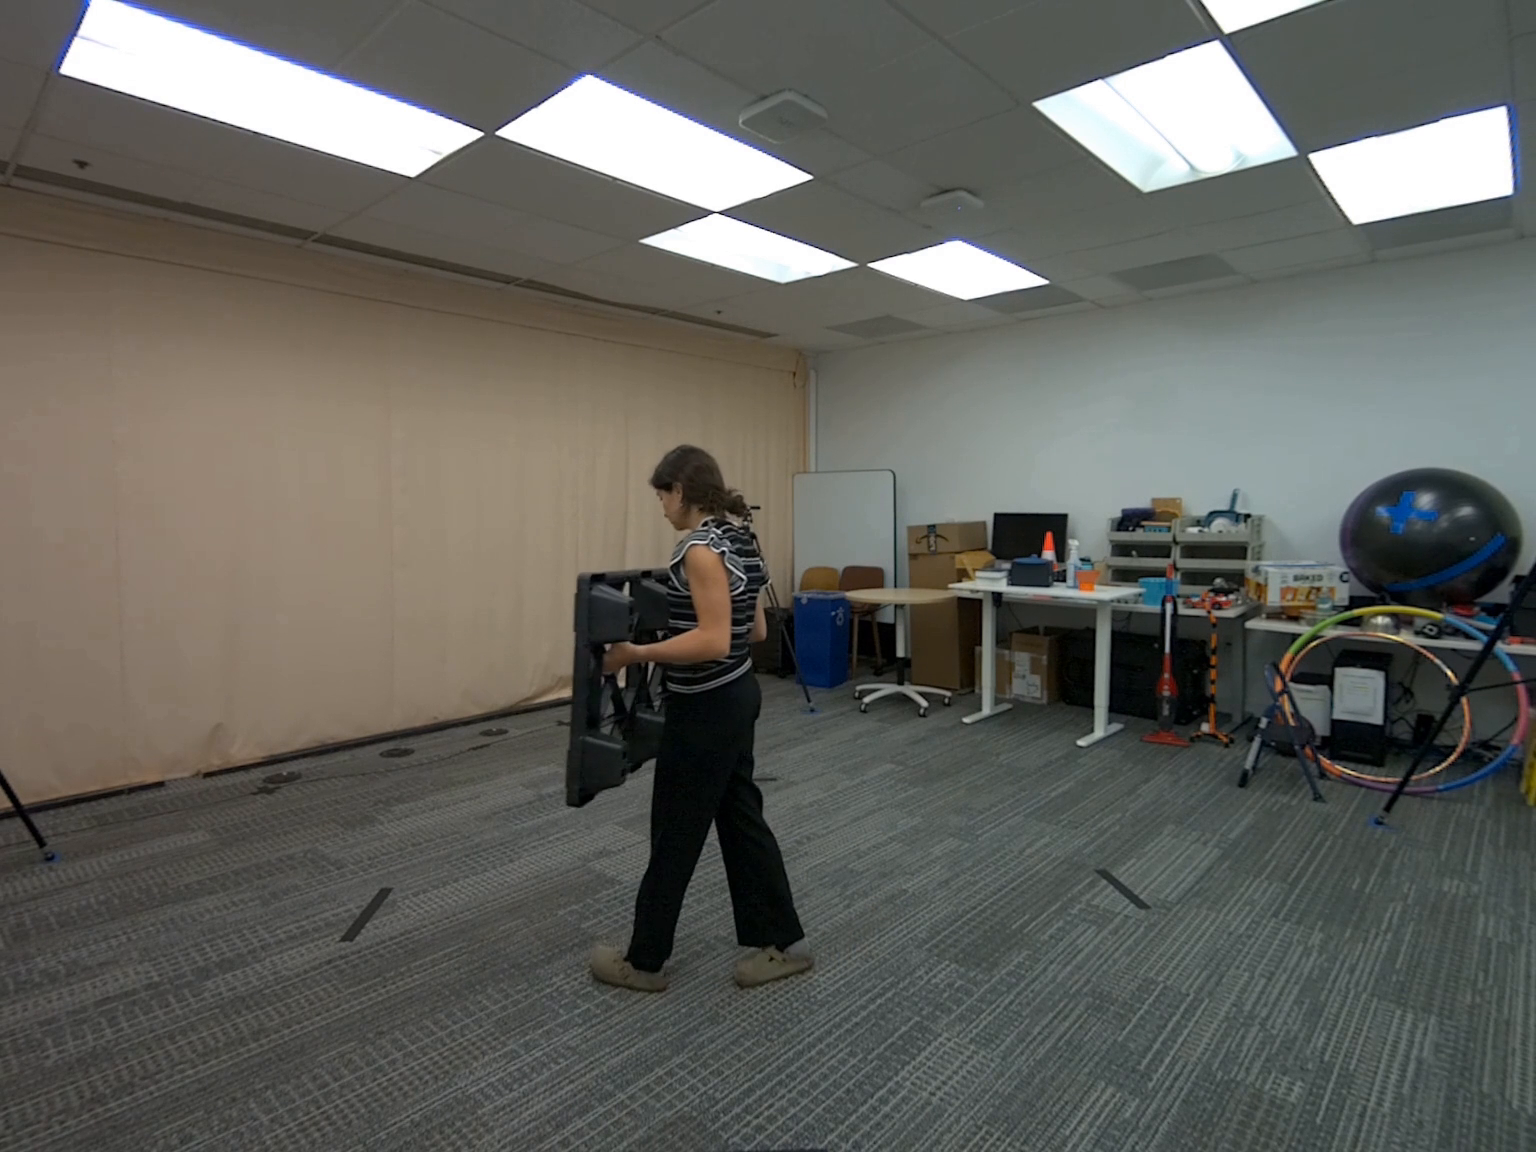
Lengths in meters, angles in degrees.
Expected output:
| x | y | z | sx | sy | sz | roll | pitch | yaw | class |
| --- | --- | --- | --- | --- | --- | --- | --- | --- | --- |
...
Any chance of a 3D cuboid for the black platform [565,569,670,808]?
| x | y | z | sx | sy | sz | roll | pitch | yaw | class |
| --- | --- | --- | --- | --- | --- | --- | --- | --- | --- |
| -0.344 | 0.281 | 2.495 | 0.146 | 0.605 | 0.792 | 4 | 1 | 14 | black platform |
